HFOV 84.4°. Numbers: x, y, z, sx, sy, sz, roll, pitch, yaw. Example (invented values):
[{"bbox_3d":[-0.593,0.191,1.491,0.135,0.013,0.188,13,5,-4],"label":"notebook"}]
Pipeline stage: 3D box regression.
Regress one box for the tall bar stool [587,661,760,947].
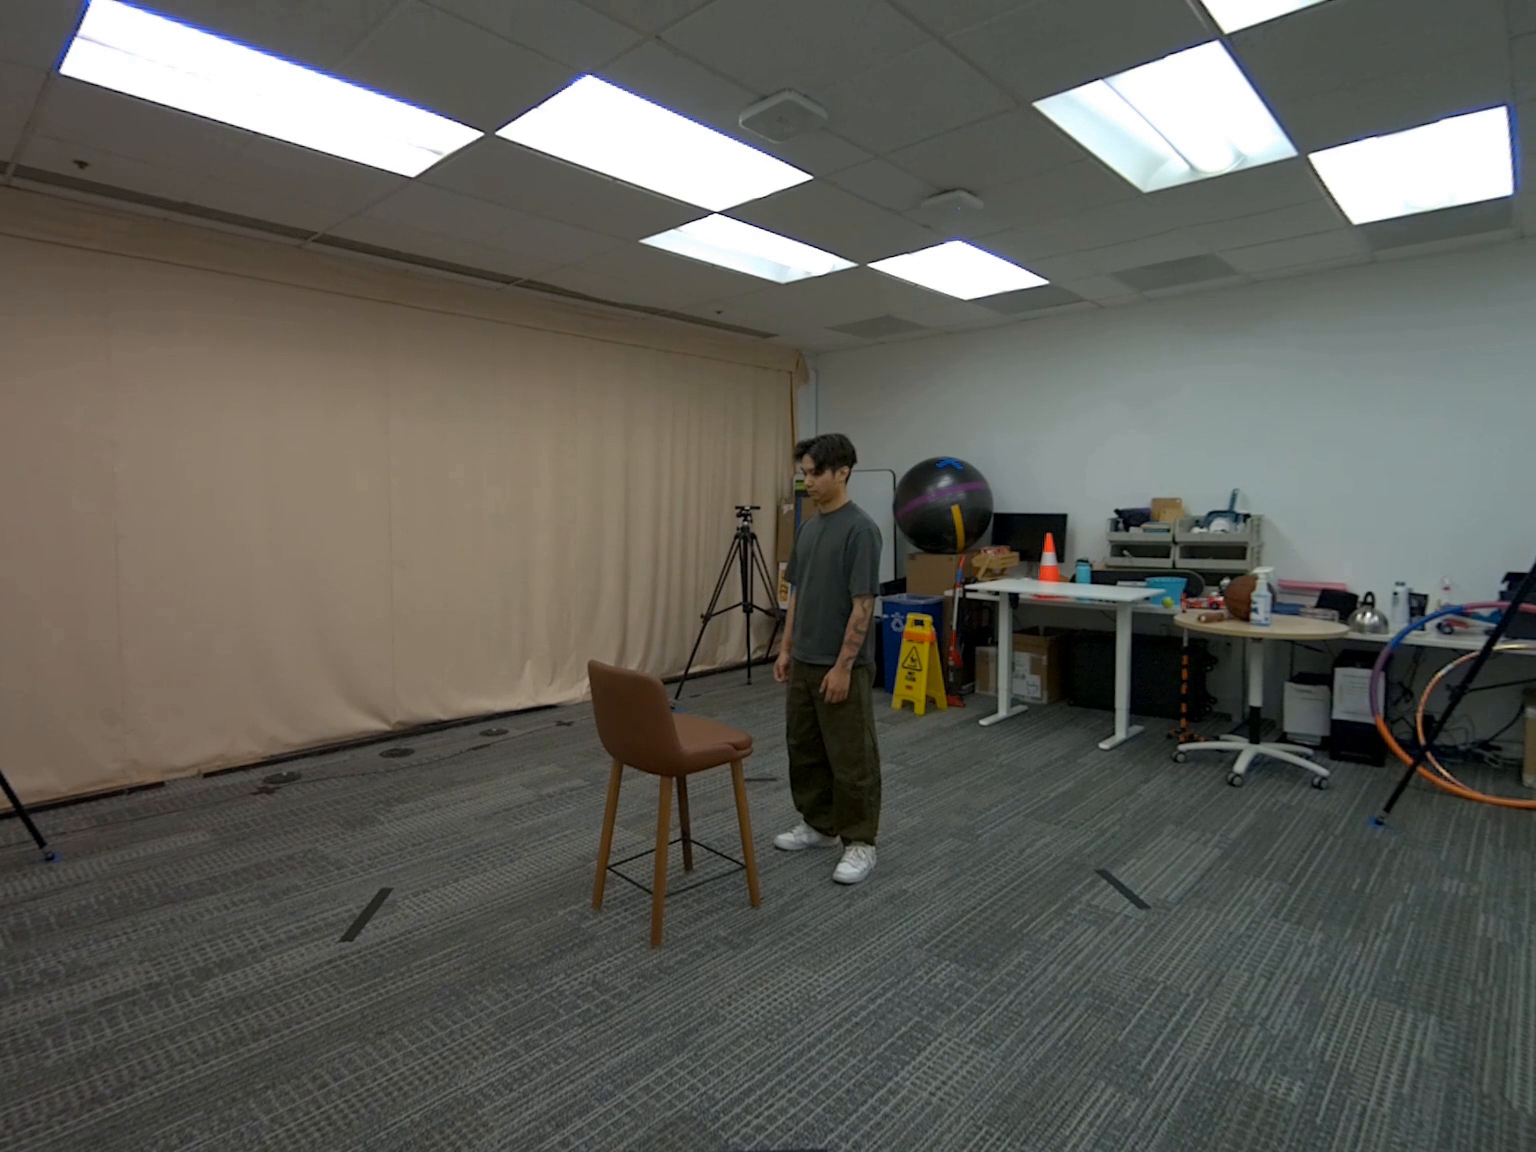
[{"bbox_3d":[-0.327,0.719,2.908,0.454,0.887,0.472,-6,6,-42],"label":"tall bar stool"}]
